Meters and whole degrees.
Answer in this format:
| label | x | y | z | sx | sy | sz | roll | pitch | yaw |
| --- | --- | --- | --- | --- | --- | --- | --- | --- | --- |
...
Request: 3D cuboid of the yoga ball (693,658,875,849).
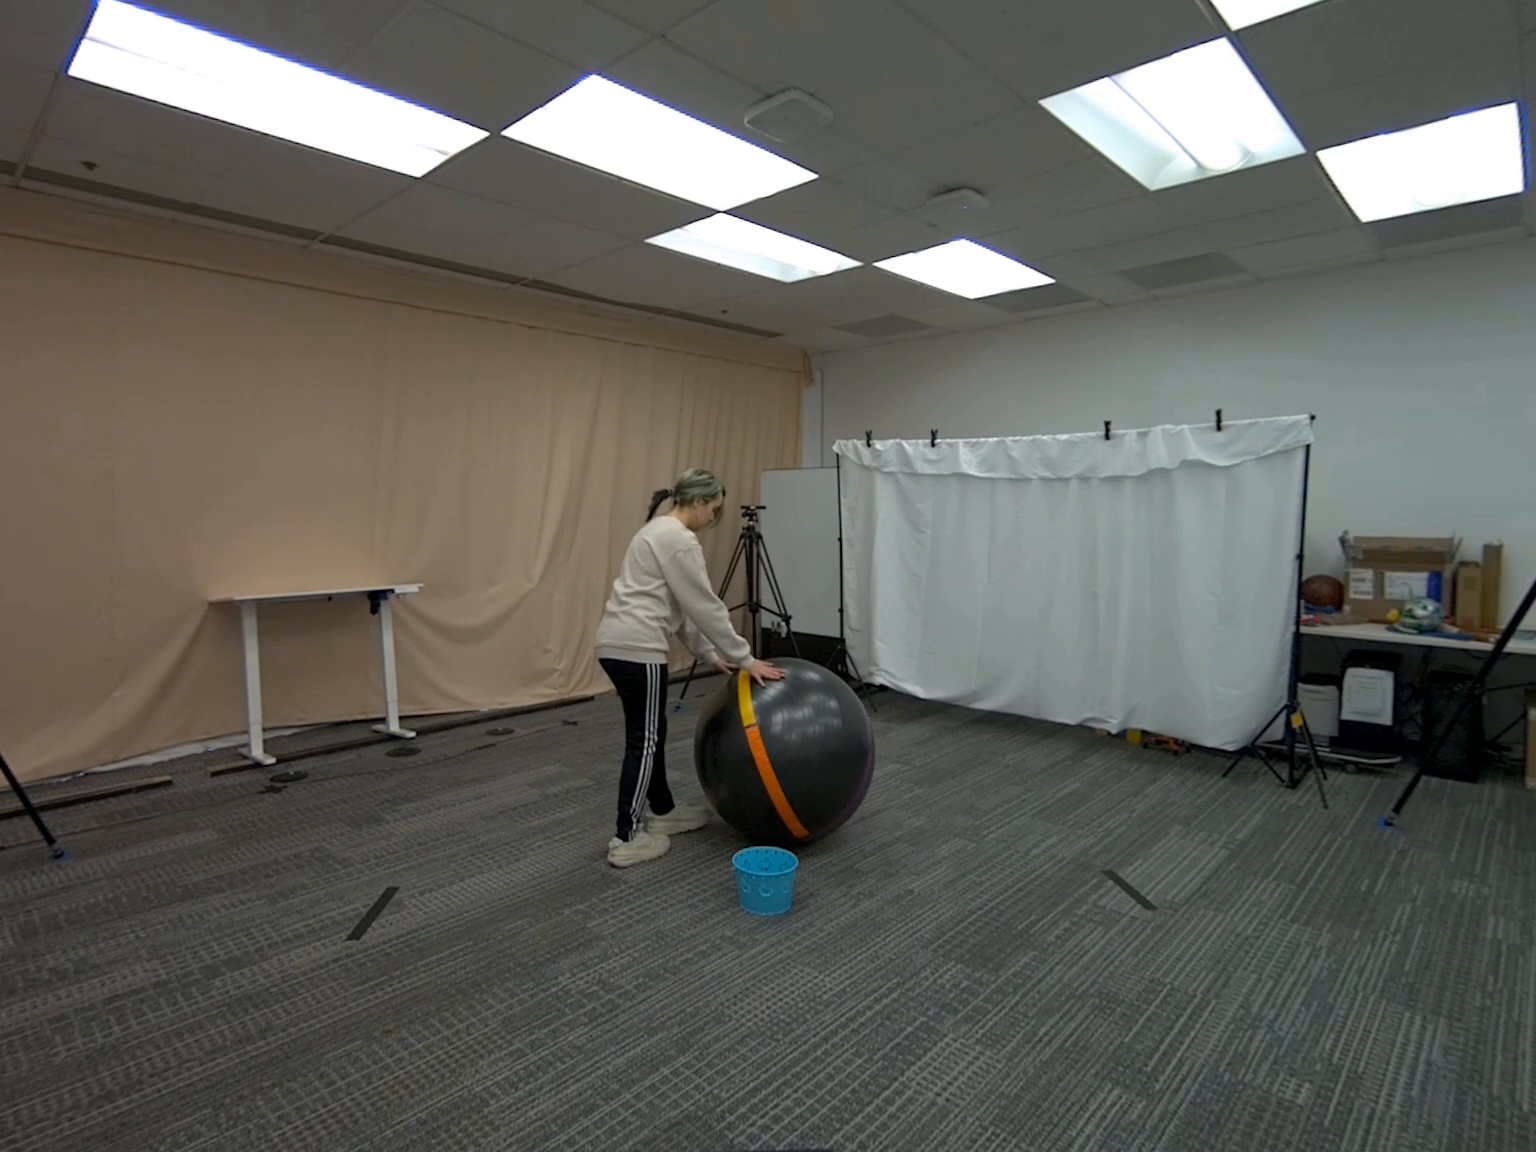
| label | x | y | z | sx | sy | sz | roll | pitch | yaw |
| --- | --- | --- | --- | --- | --- | --- | --- | --- | --- |
| yoga ball | 0.069 | 0.731 | 3.534 | 0.757 | 0.756 | 0.760 | 0 | 4 | -2 |
